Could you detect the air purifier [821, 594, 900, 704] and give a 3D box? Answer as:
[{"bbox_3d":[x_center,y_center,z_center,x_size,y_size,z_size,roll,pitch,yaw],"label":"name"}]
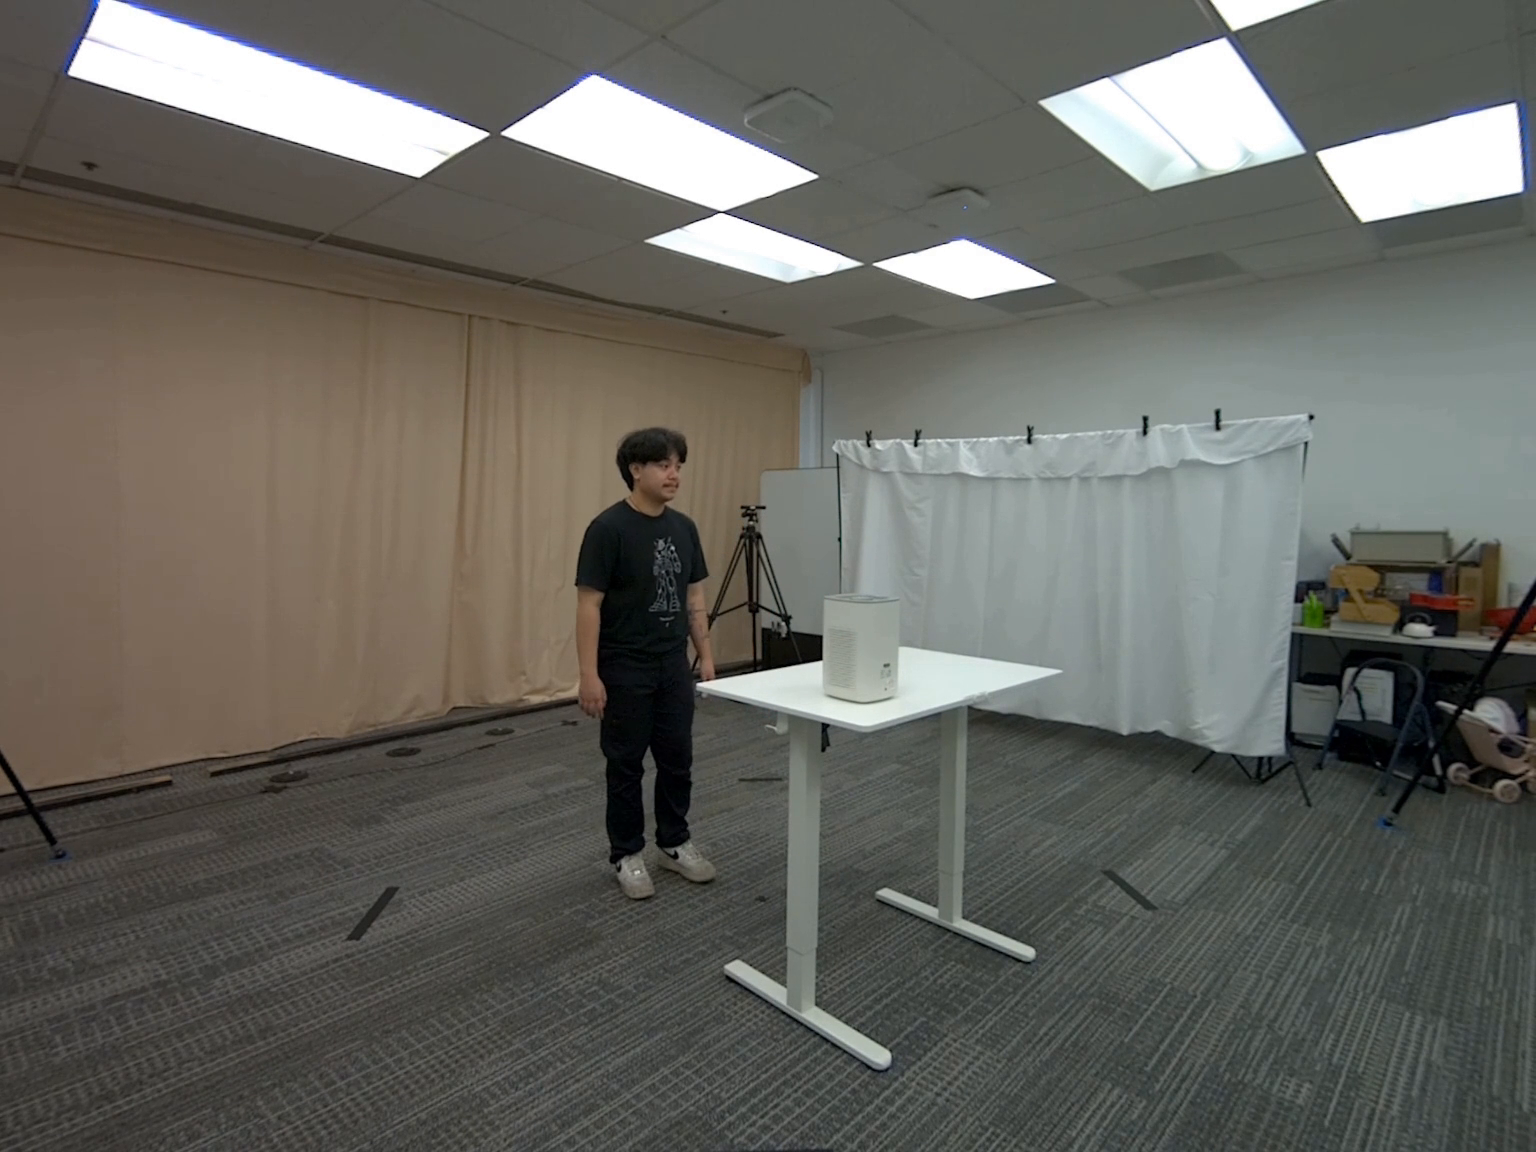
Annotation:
[{"bbox_3d":[0.254,0.189,2.224,0.166,0.265,0.177,-2,6,-44],"label":"air purifier"}]
